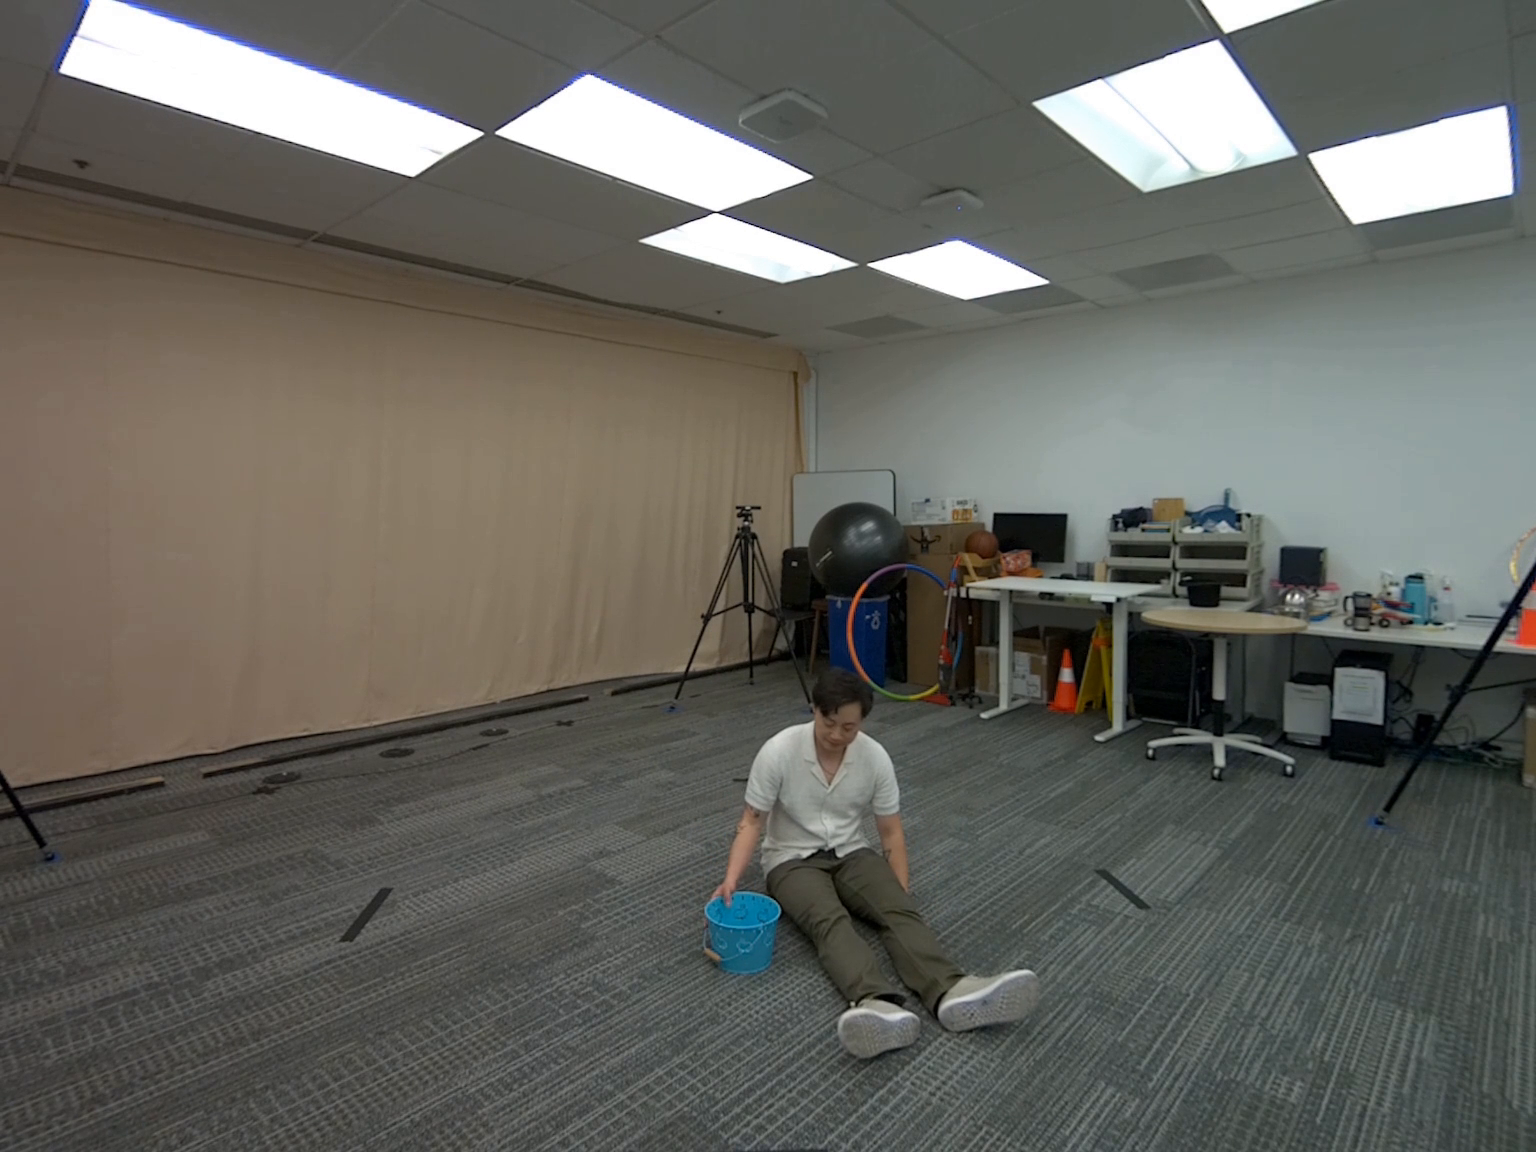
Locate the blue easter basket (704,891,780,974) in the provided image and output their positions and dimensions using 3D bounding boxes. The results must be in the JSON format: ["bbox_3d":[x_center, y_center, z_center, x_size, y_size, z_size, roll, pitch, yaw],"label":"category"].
[{"bbox_3d":[-0.084,1.098,2.593,0.243,0.155,0.244,0,4,-2],"label":"blue easter basket"}]
